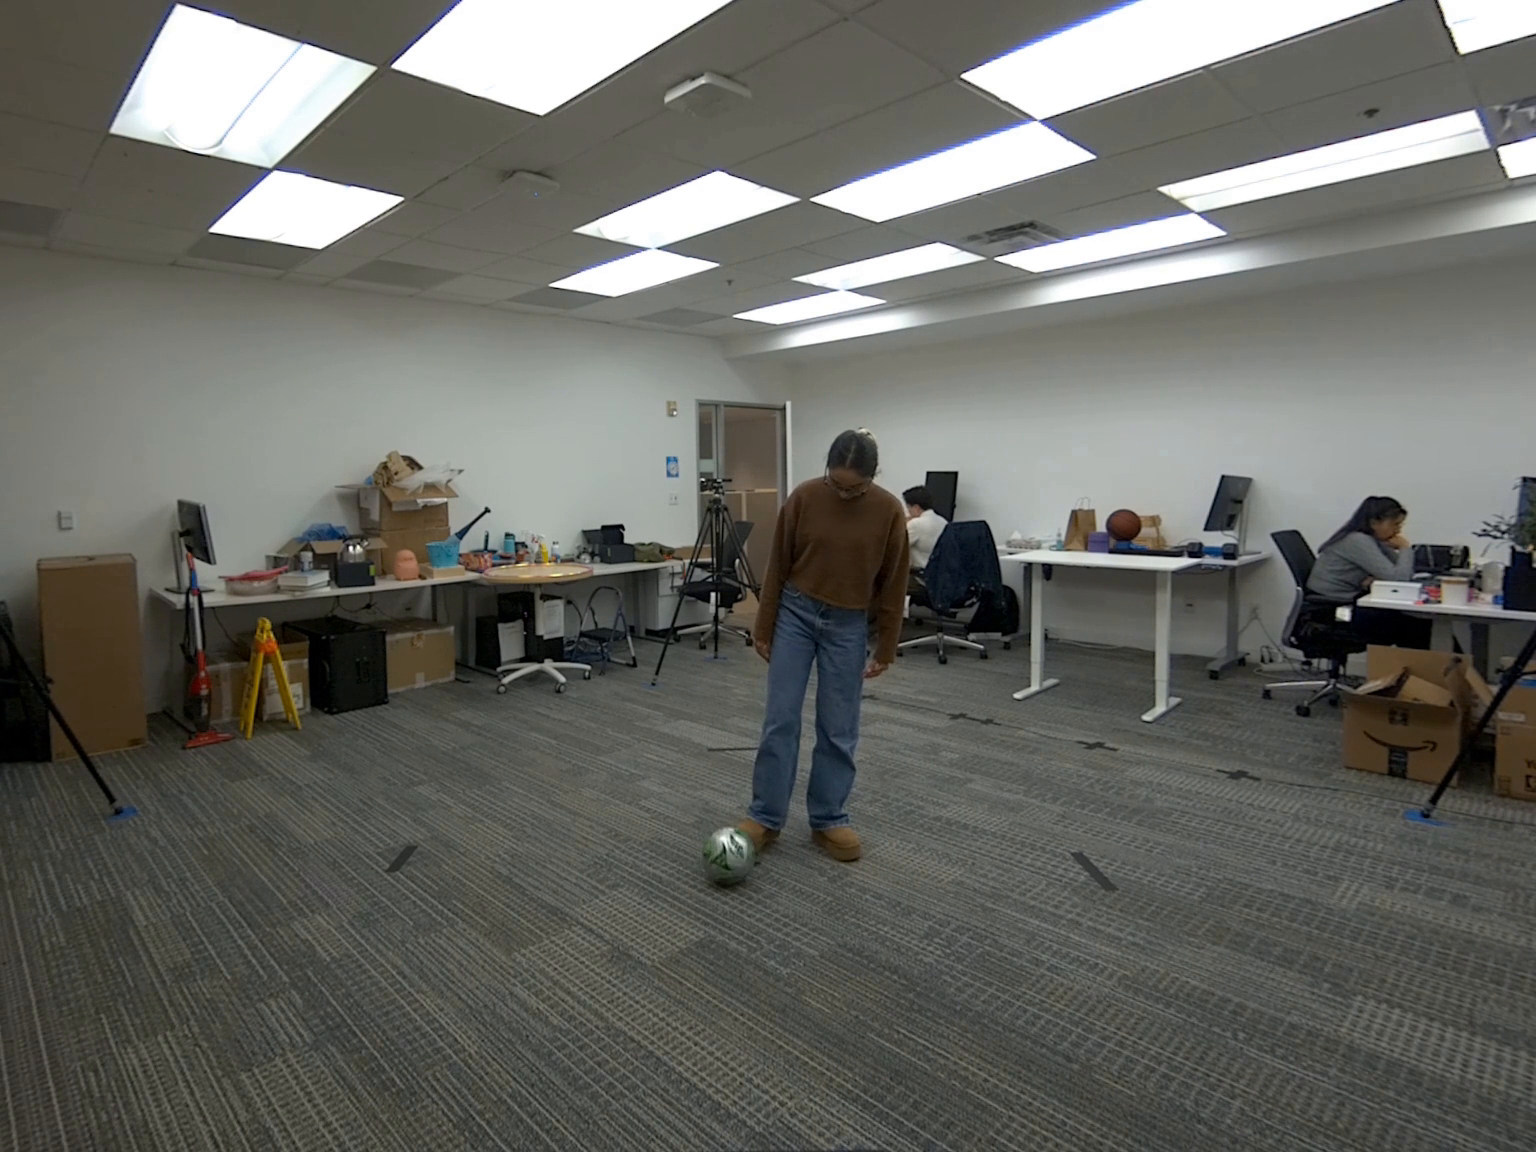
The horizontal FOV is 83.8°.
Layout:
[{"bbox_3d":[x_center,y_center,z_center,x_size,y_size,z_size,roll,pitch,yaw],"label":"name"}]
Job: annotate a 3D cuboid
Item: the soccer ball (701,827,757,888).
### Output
[{"bbox_3d":[-0.133,0.972,2.965,0.187,0.187,0.188,-1,5,-2],"label":"soccer ball"}]
